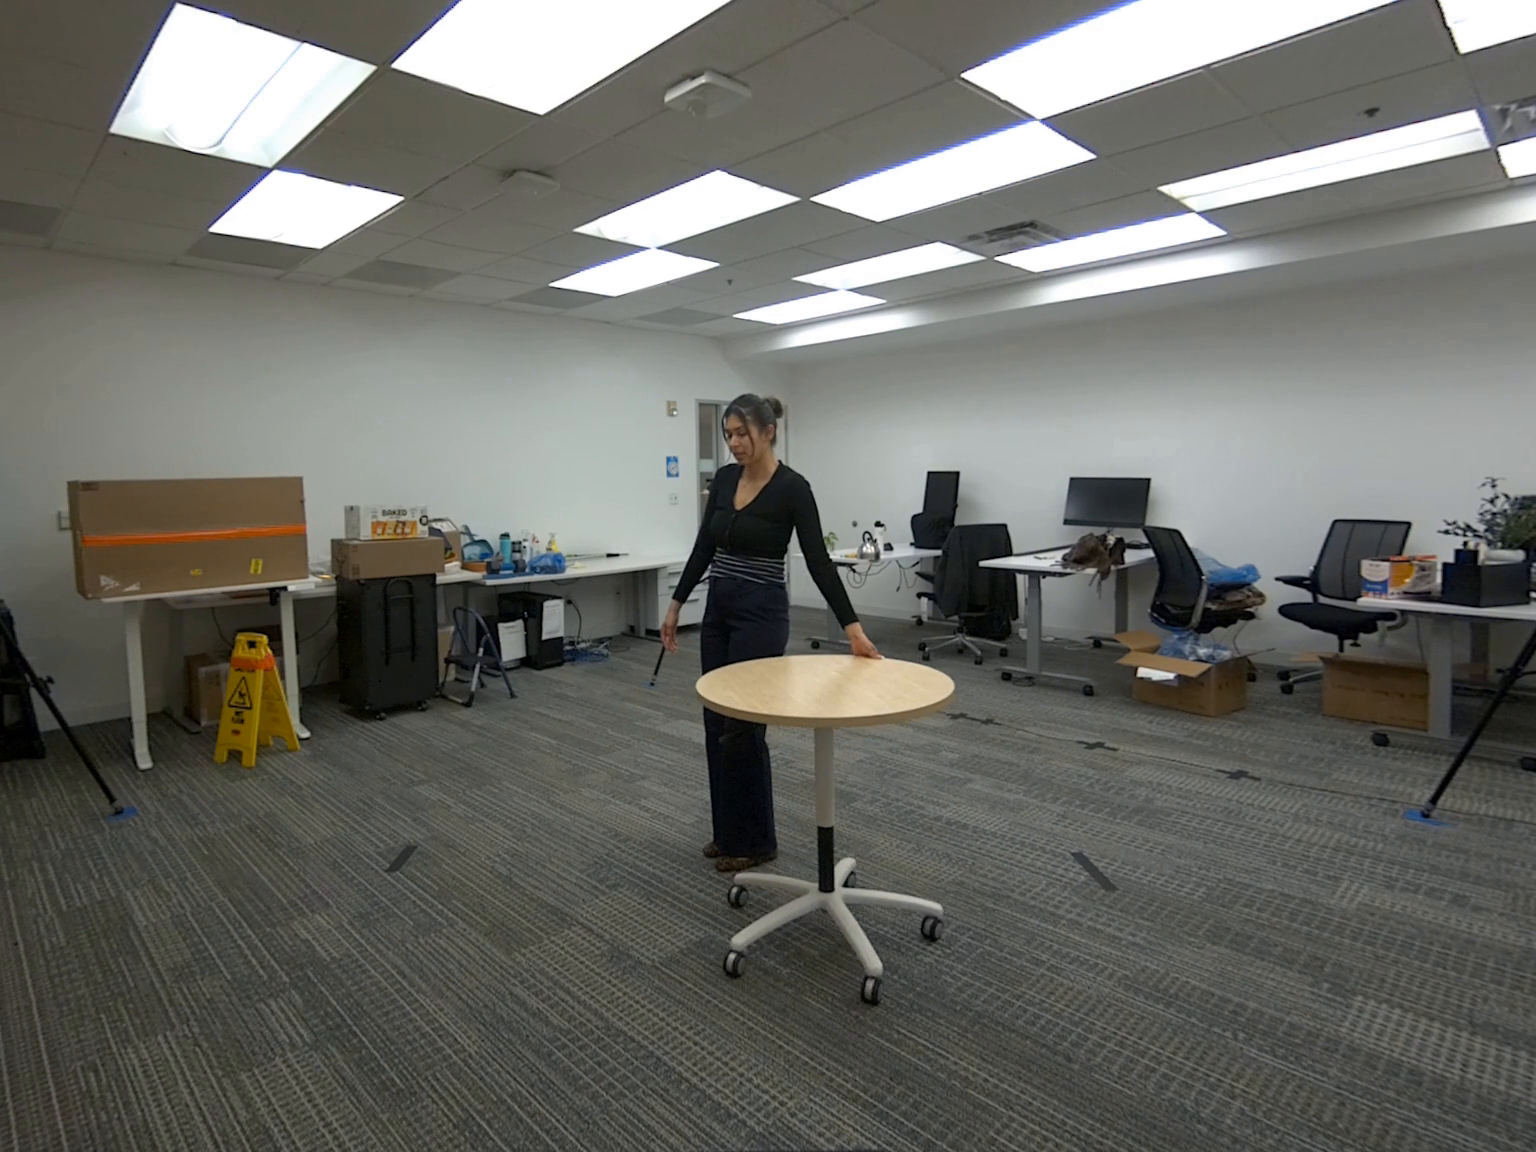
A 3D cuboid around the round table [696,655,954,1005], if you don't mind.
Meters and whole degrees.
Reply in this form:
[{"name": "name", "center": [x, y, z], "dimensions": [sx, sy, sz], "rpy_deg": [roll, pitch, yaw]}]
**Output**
[{"name": "round table", "center": [0.182, 0.713, 2.585], "dimensions": [0.763, 0.791, 0.768], "rpy_deg": [-1, 5, -2]}]
